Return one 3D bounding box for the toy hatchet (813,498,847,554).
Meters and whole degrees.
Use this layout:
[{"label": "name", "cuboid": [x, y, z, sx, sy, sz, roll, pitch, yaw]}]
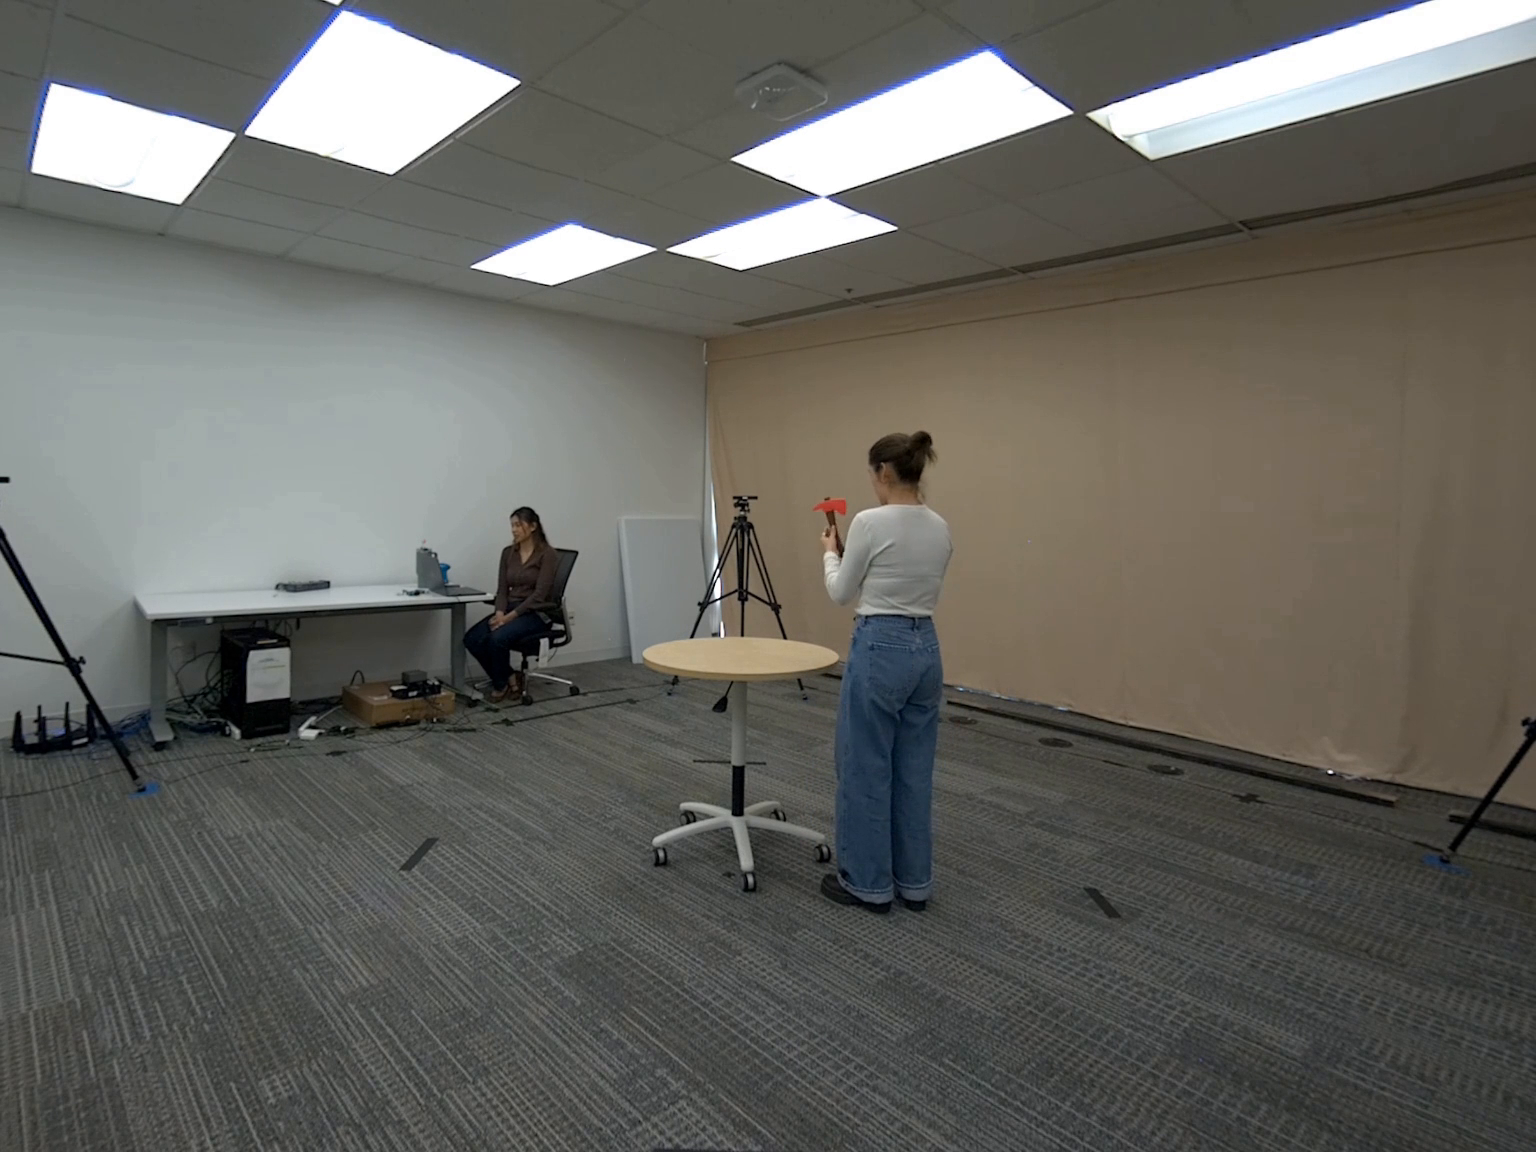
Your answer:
[{"label": "toy hatchet", "cuboid": [0.276, -0.179, 3.125, 0.131, 0.273, 0.029, -36, -10, 19]}]
